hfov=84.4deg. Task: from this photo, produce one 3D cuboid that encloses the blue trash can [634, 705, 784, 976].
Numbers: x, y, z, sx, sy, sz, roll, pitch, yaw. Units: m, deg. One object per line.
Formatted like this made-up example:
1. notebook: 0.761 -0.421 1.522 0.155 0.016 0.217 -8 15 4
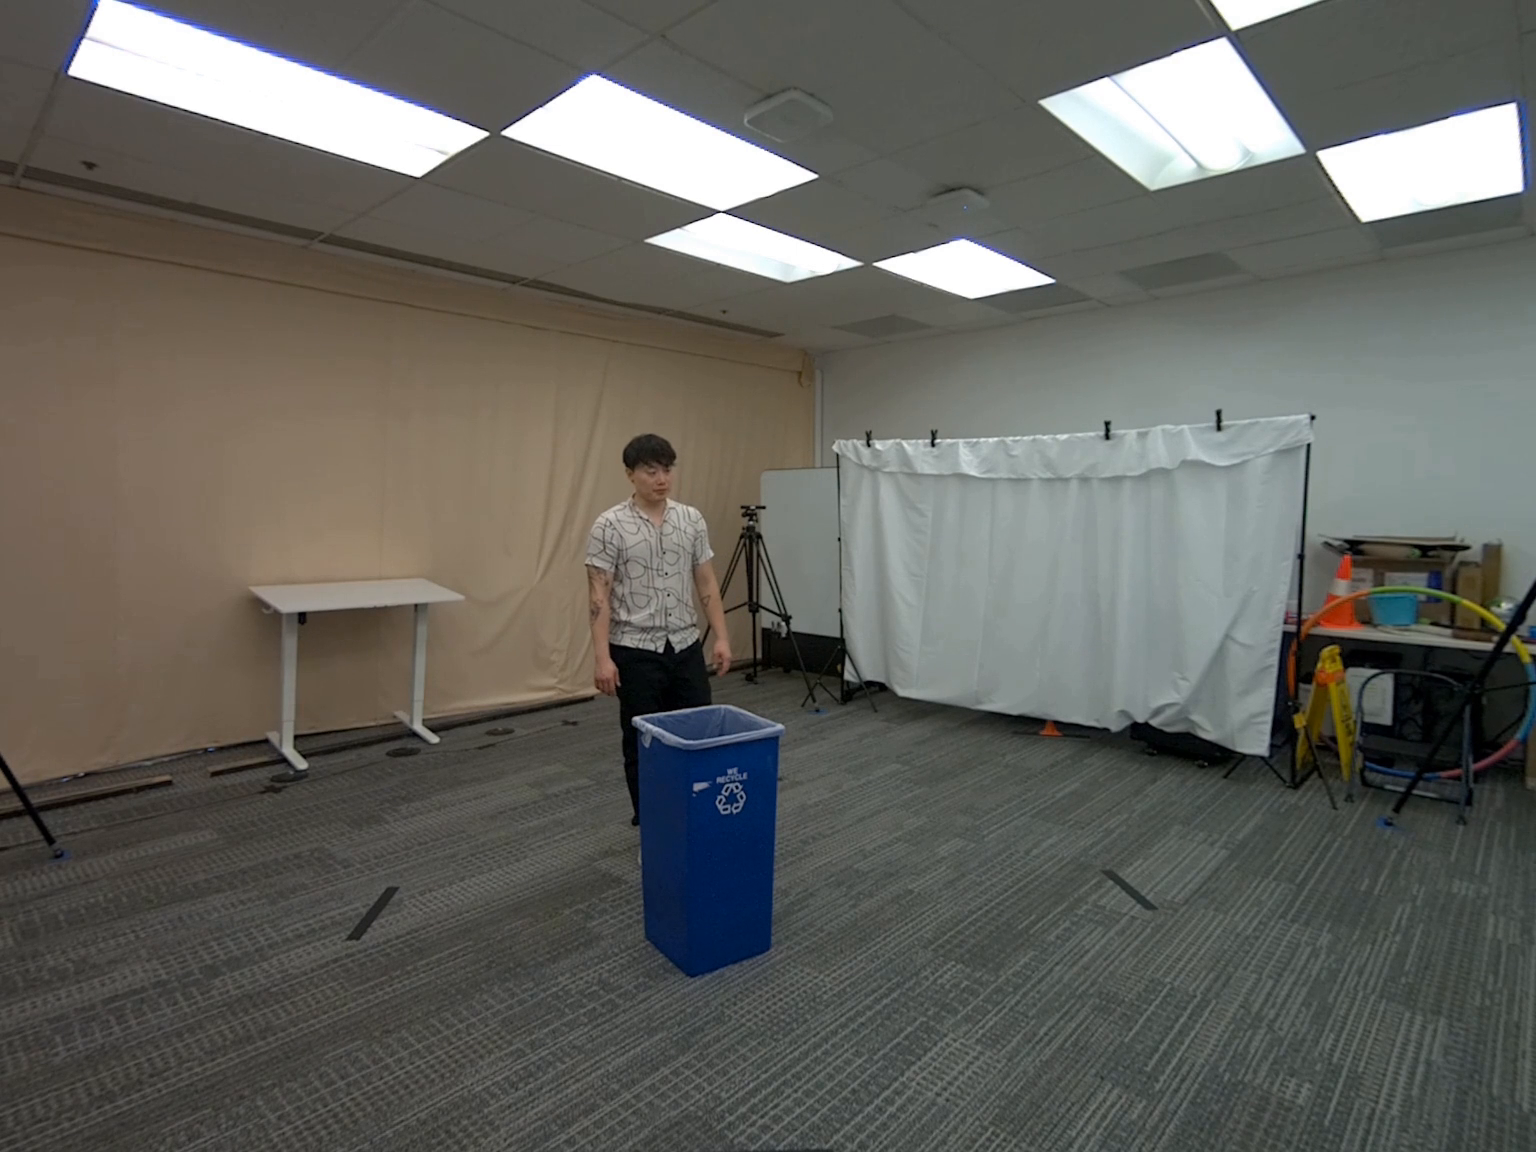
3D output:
1. blue trash can: -0.185 0.814 2.669 0.363 0.712 0.390 -2 4 -35
